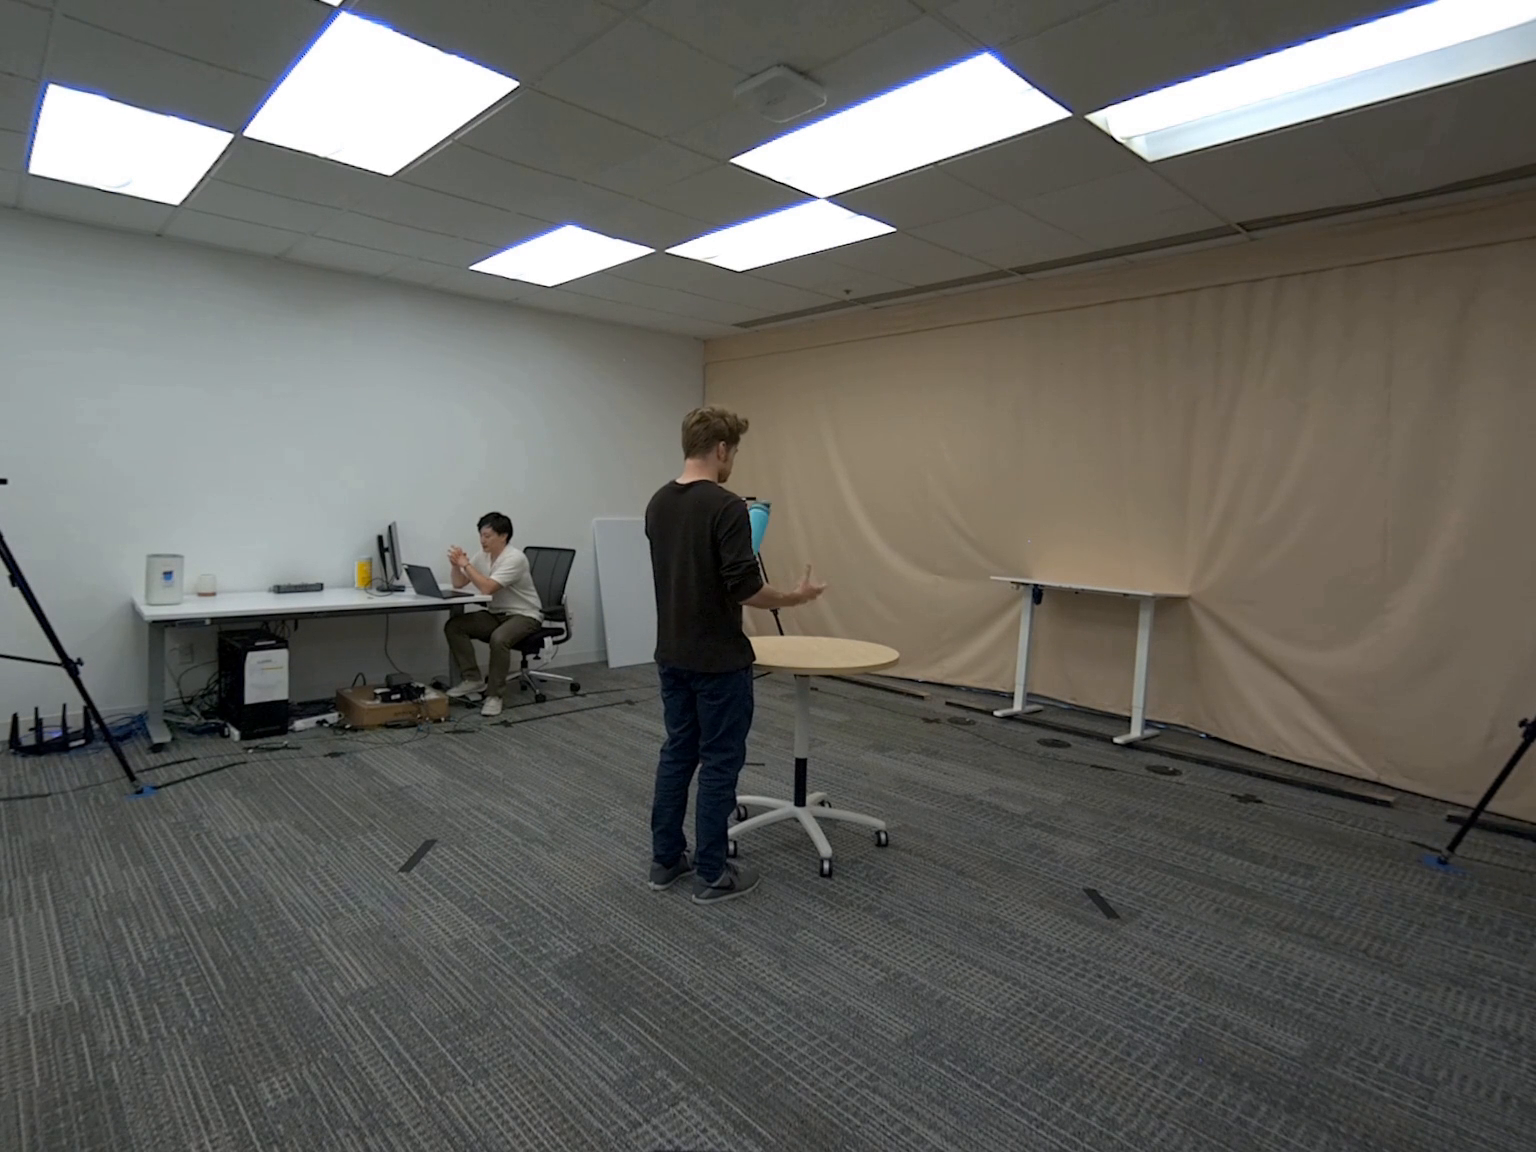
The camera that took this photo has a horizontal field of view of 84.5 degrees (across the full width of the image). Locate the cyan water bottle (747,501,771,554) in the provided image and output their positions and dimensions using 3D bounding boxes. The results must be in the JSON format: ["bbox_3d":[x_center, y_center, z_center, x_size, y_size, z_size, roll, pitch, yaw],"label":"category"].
[{"bbox_3d":[-0.067,-0.131,3.285,0.093,0.286,0.091,14,-24,5],"label":"cyan water bottle"}]
